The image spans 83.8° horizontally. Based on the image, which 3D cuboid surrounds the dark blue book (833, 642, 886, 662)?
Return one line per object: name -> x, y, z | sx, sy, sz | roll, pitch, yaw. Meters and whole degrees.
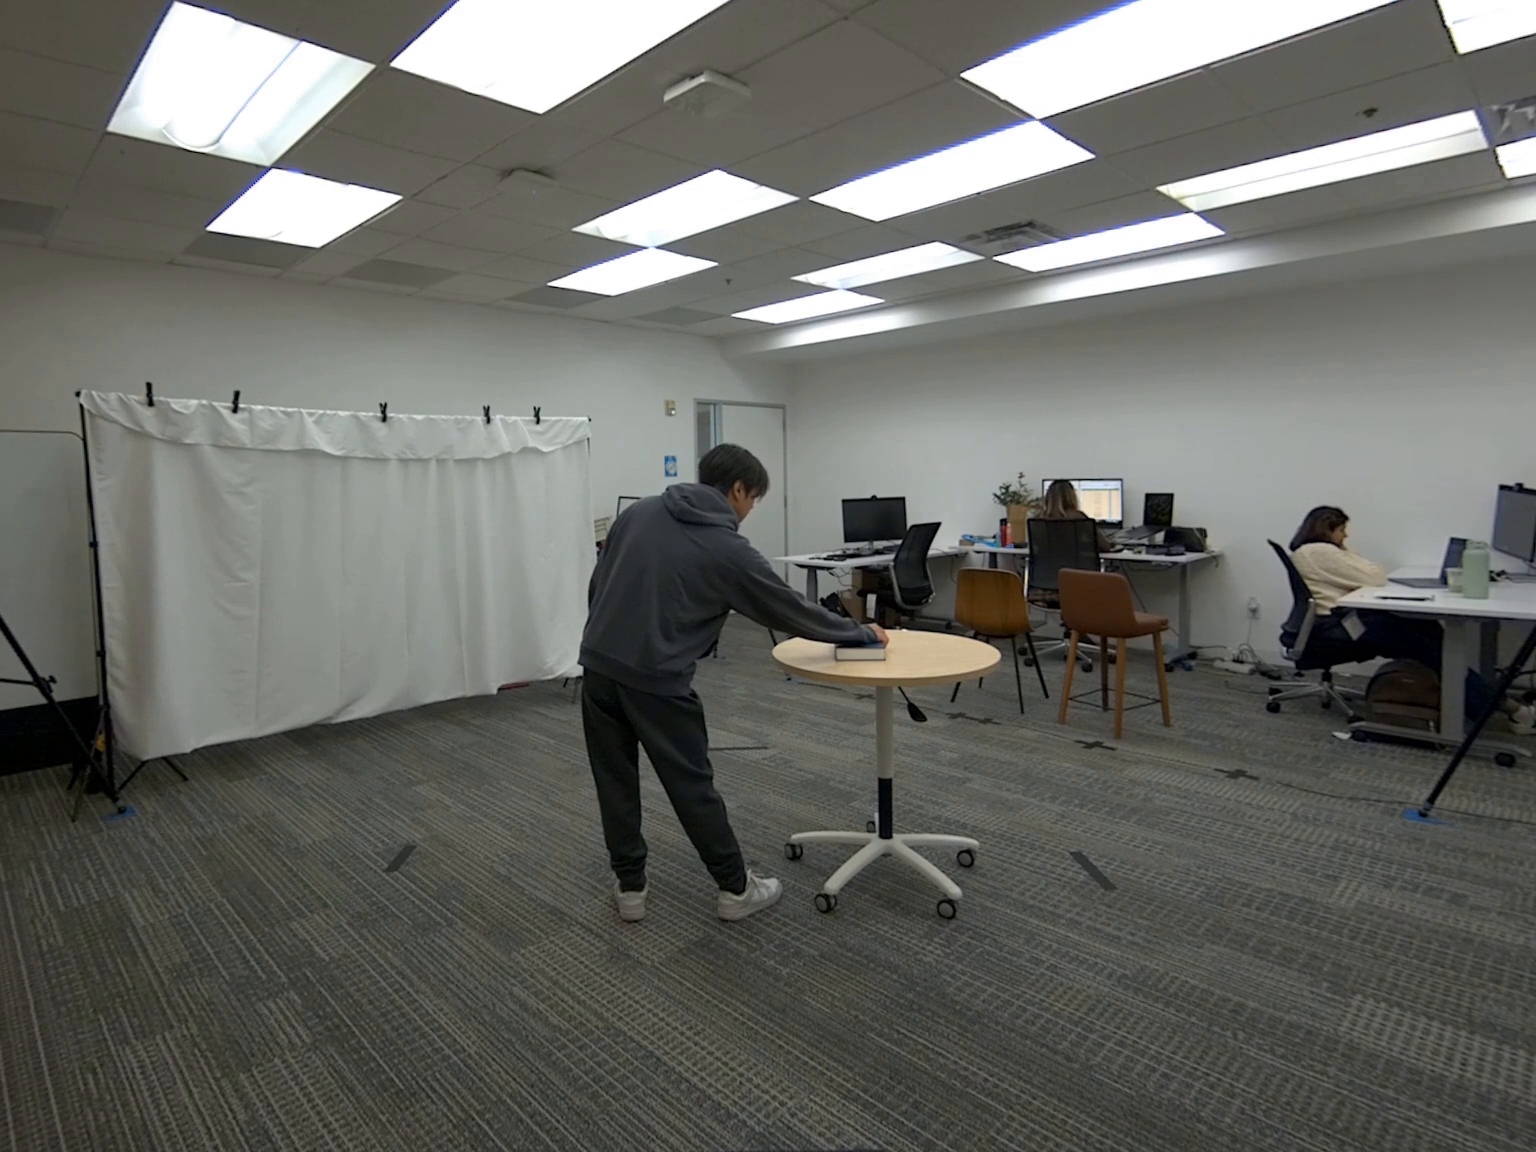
dark blue book -> 0.311, 0.244, 2.913 | 0.164, 0.045, 0.245 | 1, 7, 5
